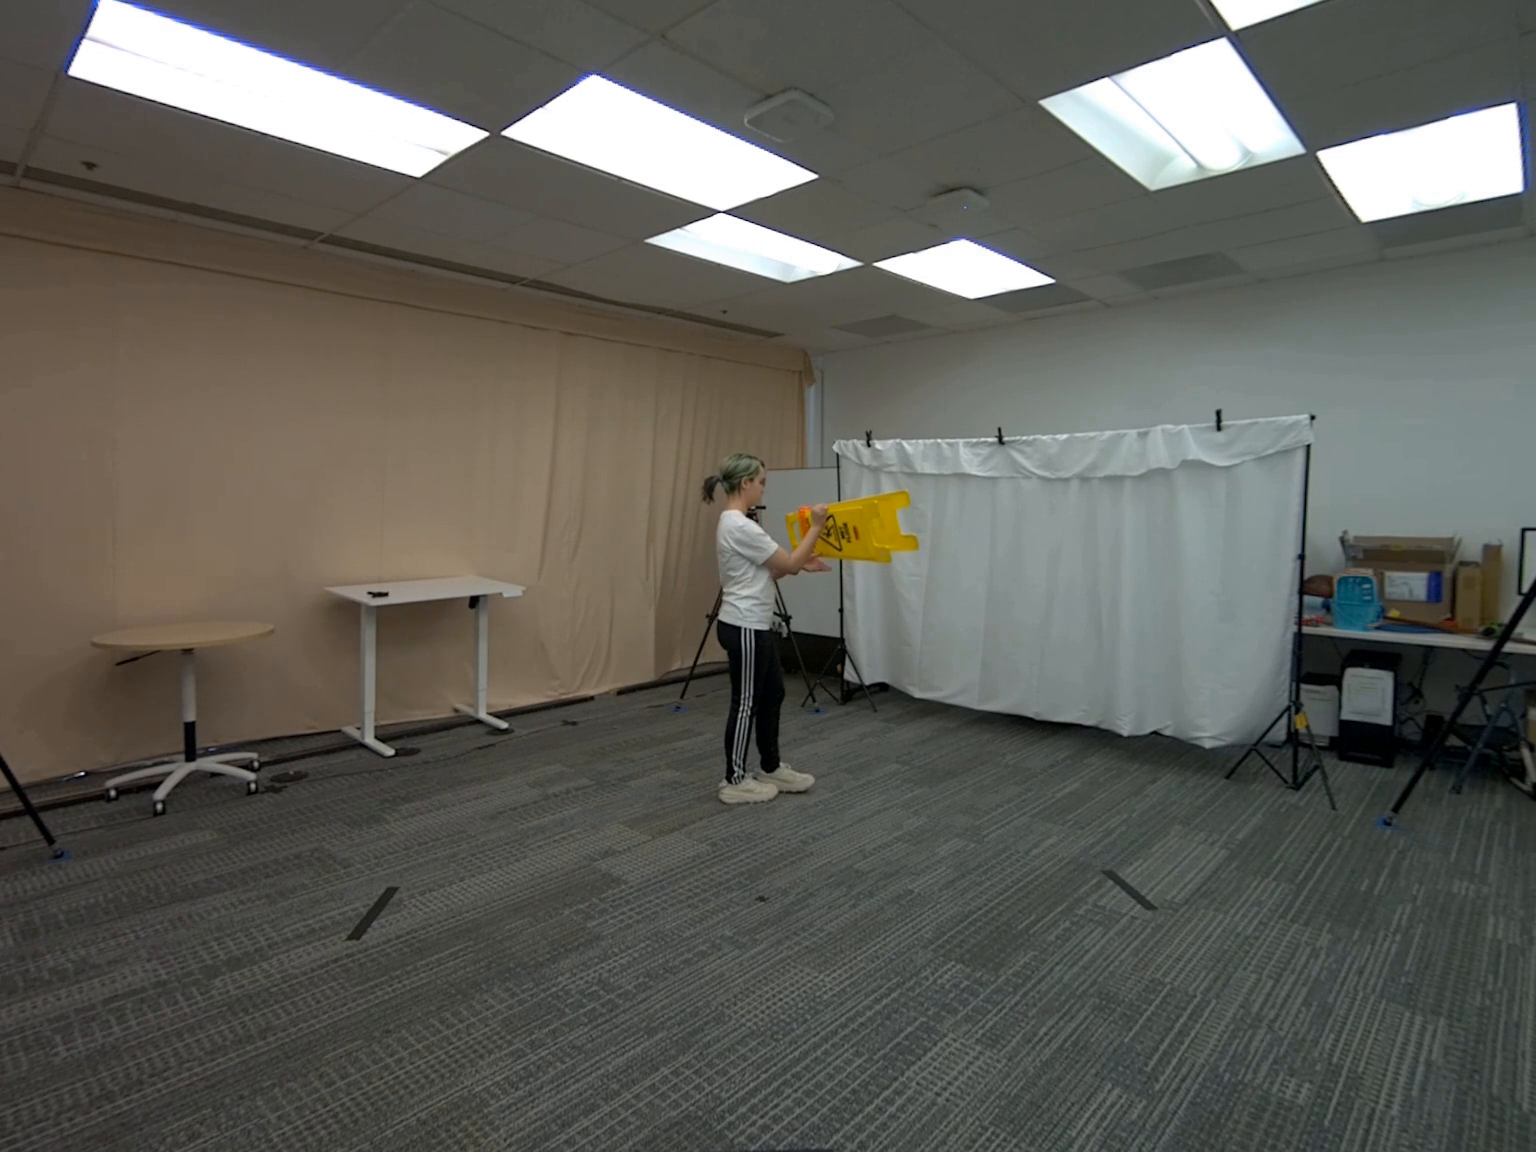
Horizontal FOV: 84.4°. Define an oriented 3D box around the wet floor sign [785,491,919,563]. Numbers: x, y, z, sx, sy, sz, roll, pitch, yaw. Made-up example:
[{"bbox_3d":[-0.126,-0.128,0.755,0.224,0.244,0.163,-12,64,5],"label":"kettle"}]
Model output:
[{"bbox_3d":[0.345,-0.207,3.920,0.283,0.280,0.666,-19,12,-41],"label":"wet floor sign"}]
